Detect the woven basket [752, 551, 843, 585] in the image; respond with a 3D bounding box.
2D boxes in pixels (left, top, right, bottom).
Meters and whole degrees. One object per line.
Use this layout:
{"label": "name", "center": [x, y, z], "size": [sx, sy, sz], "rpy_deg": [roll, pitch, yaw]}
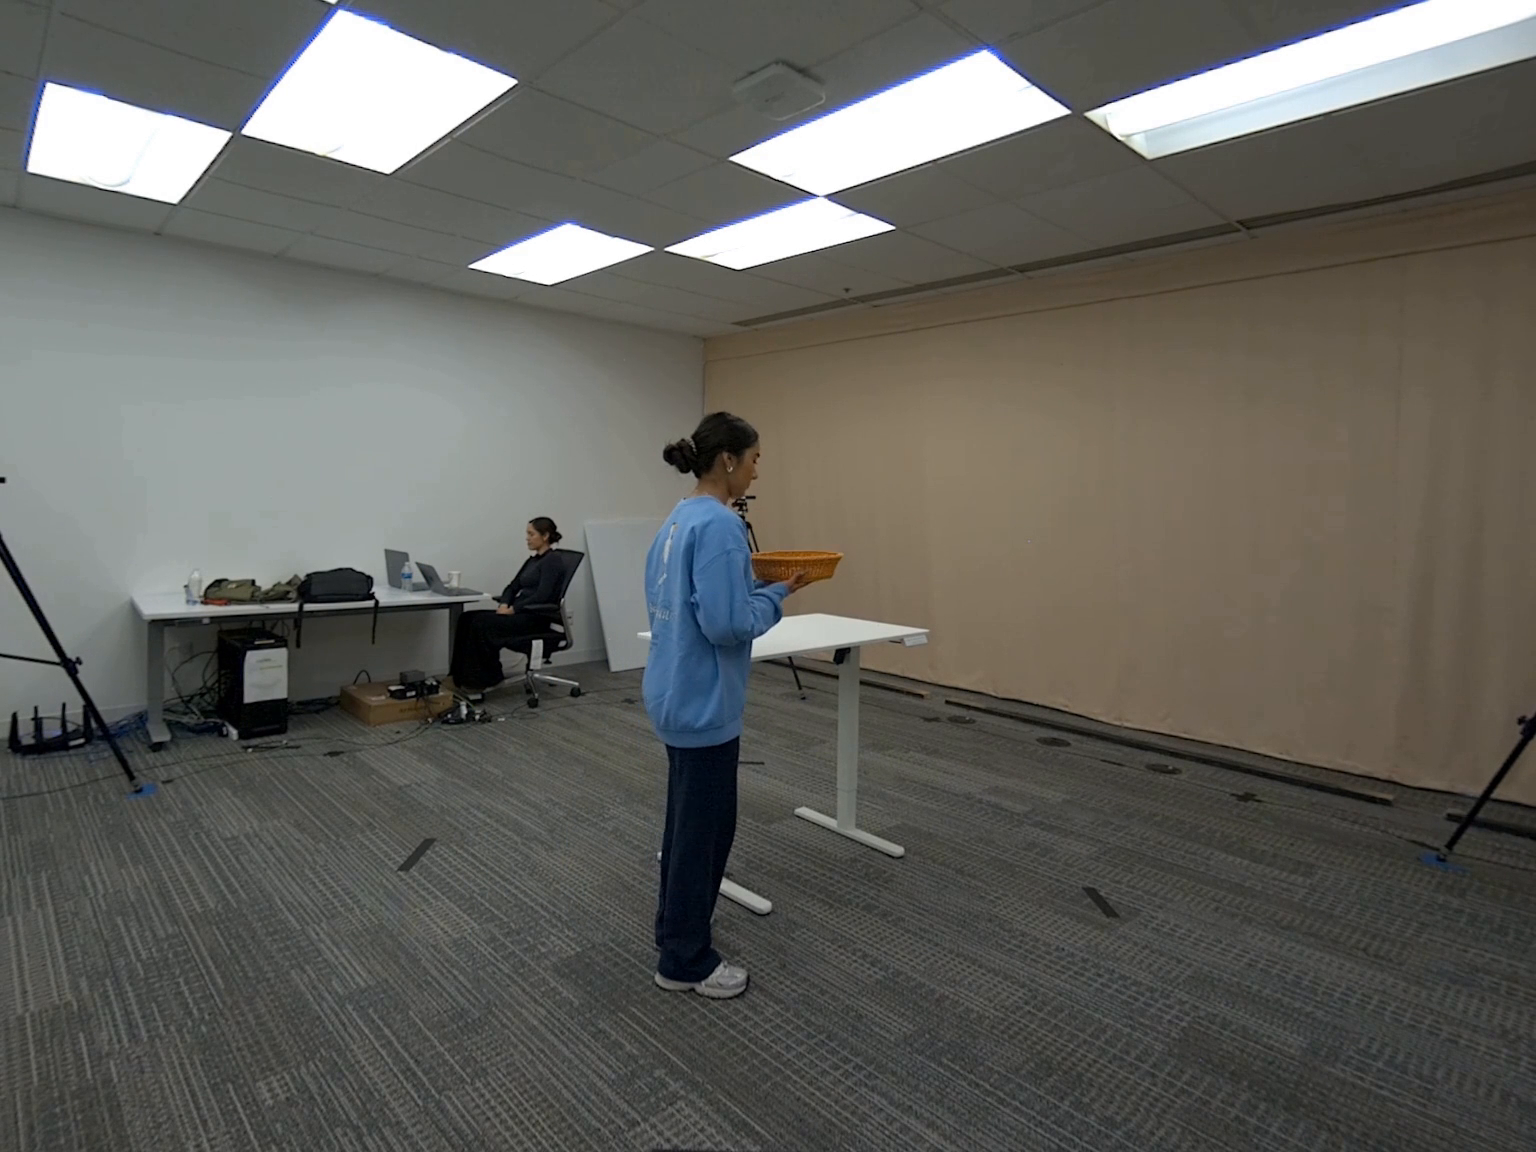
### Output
{"label": "woven basket", "center": [0.060, -0.021, 2.512], "size": [0.248, 0.073, 0.358], "rpy_deg": [-4, 4, -29]}
